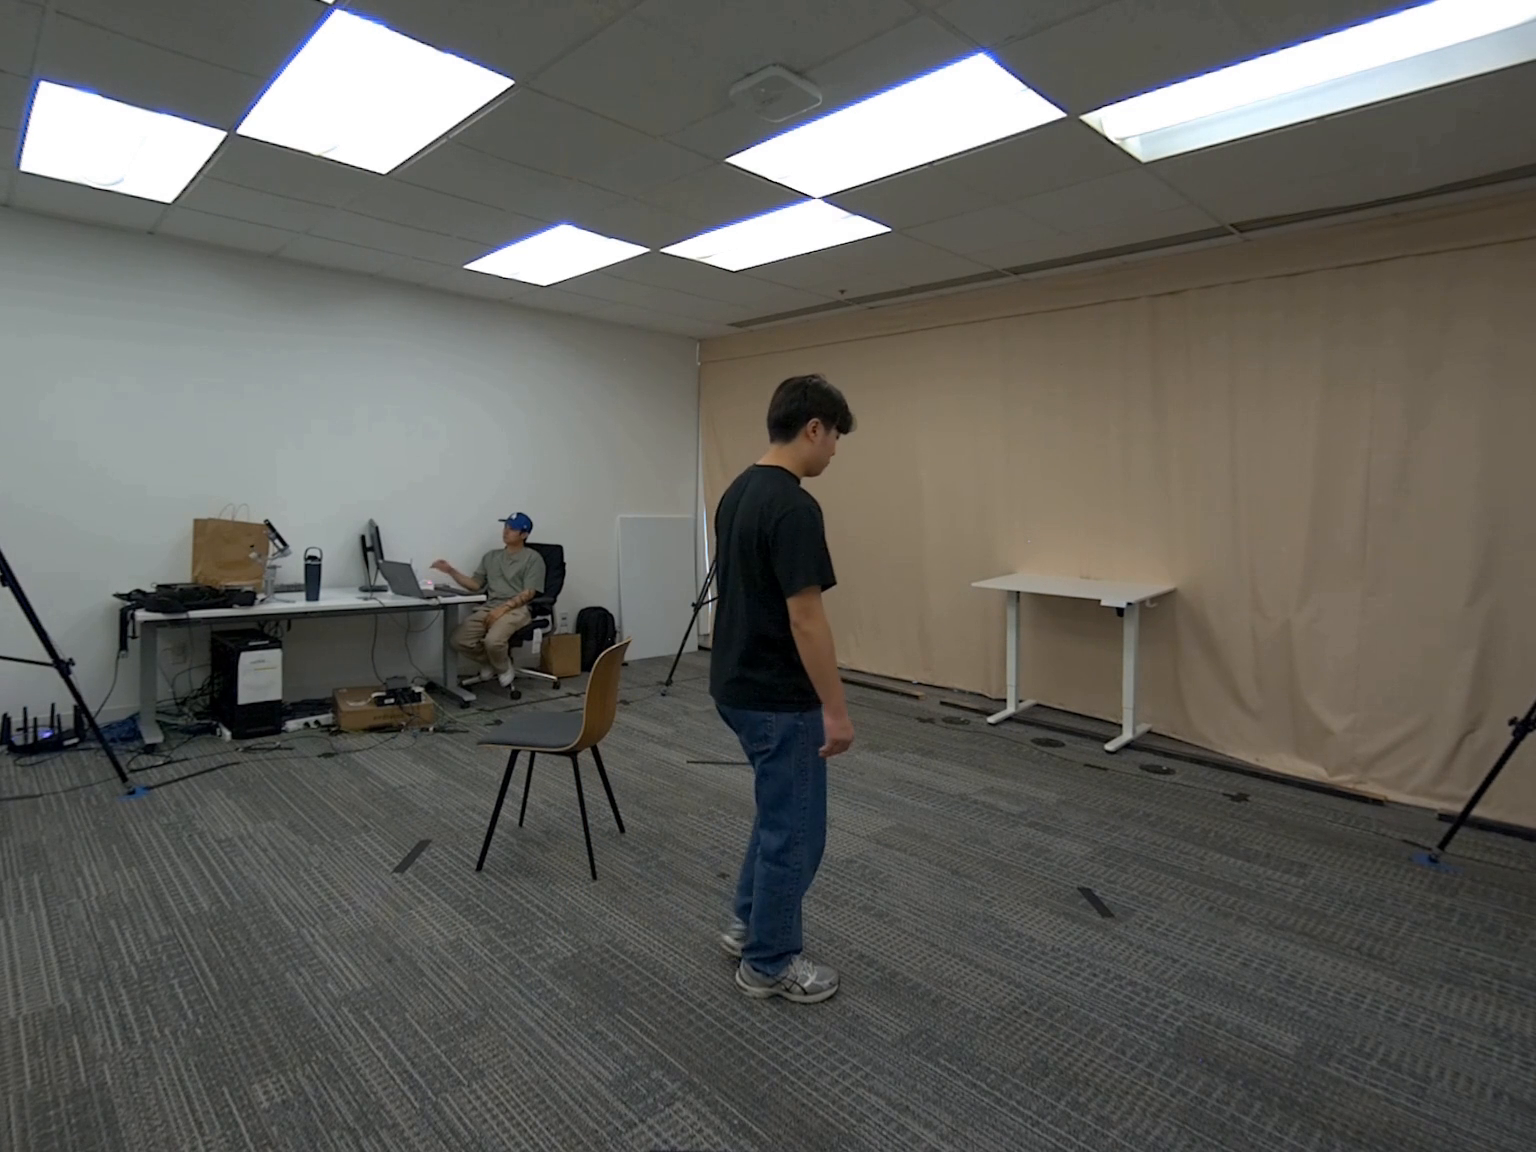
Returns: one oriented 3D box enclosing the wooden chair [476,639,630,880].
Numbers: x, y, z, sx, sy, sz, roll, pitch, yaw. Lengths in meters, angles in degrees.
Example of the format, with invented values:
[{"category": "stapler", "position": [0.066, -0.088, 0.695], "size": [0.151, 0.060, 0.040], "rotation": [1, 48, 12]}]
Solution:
[{"category": "wooden chair", "position": [-0.832, 0.651, 3.249], "size": [0.525, 0.875, 0.477], "rotation": [6, 4, 4]}]
